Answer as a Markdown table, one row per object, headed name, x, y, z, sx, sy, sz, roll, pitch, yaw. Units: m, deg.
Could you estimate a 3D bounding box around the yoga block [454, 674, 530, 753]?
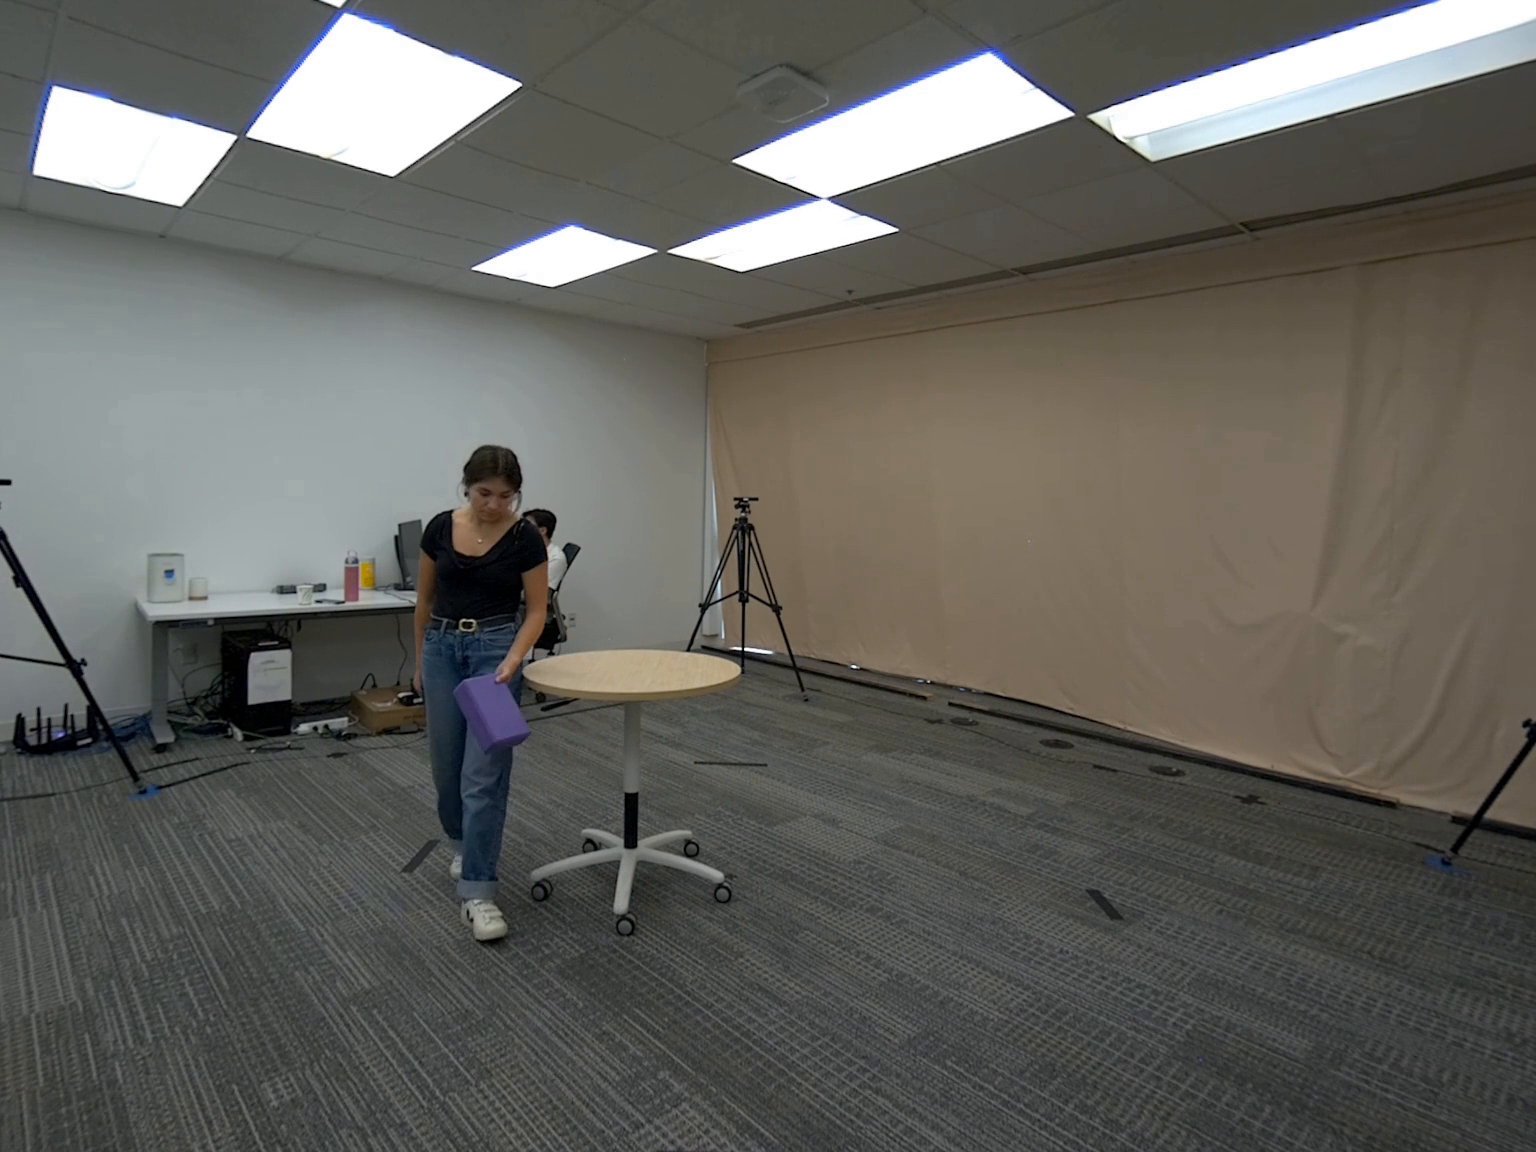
| name | x | y | z | sx | sy | sz | roll | pitch | yaw |
| --- | --- | --- | --- | --- | --- | --- | --- | --- | --- |
| yoga block | -0.856 | 0.417 | 2.576 | 0.076 | 0.234 | 0.146 | -44 | -20 | 22 |
